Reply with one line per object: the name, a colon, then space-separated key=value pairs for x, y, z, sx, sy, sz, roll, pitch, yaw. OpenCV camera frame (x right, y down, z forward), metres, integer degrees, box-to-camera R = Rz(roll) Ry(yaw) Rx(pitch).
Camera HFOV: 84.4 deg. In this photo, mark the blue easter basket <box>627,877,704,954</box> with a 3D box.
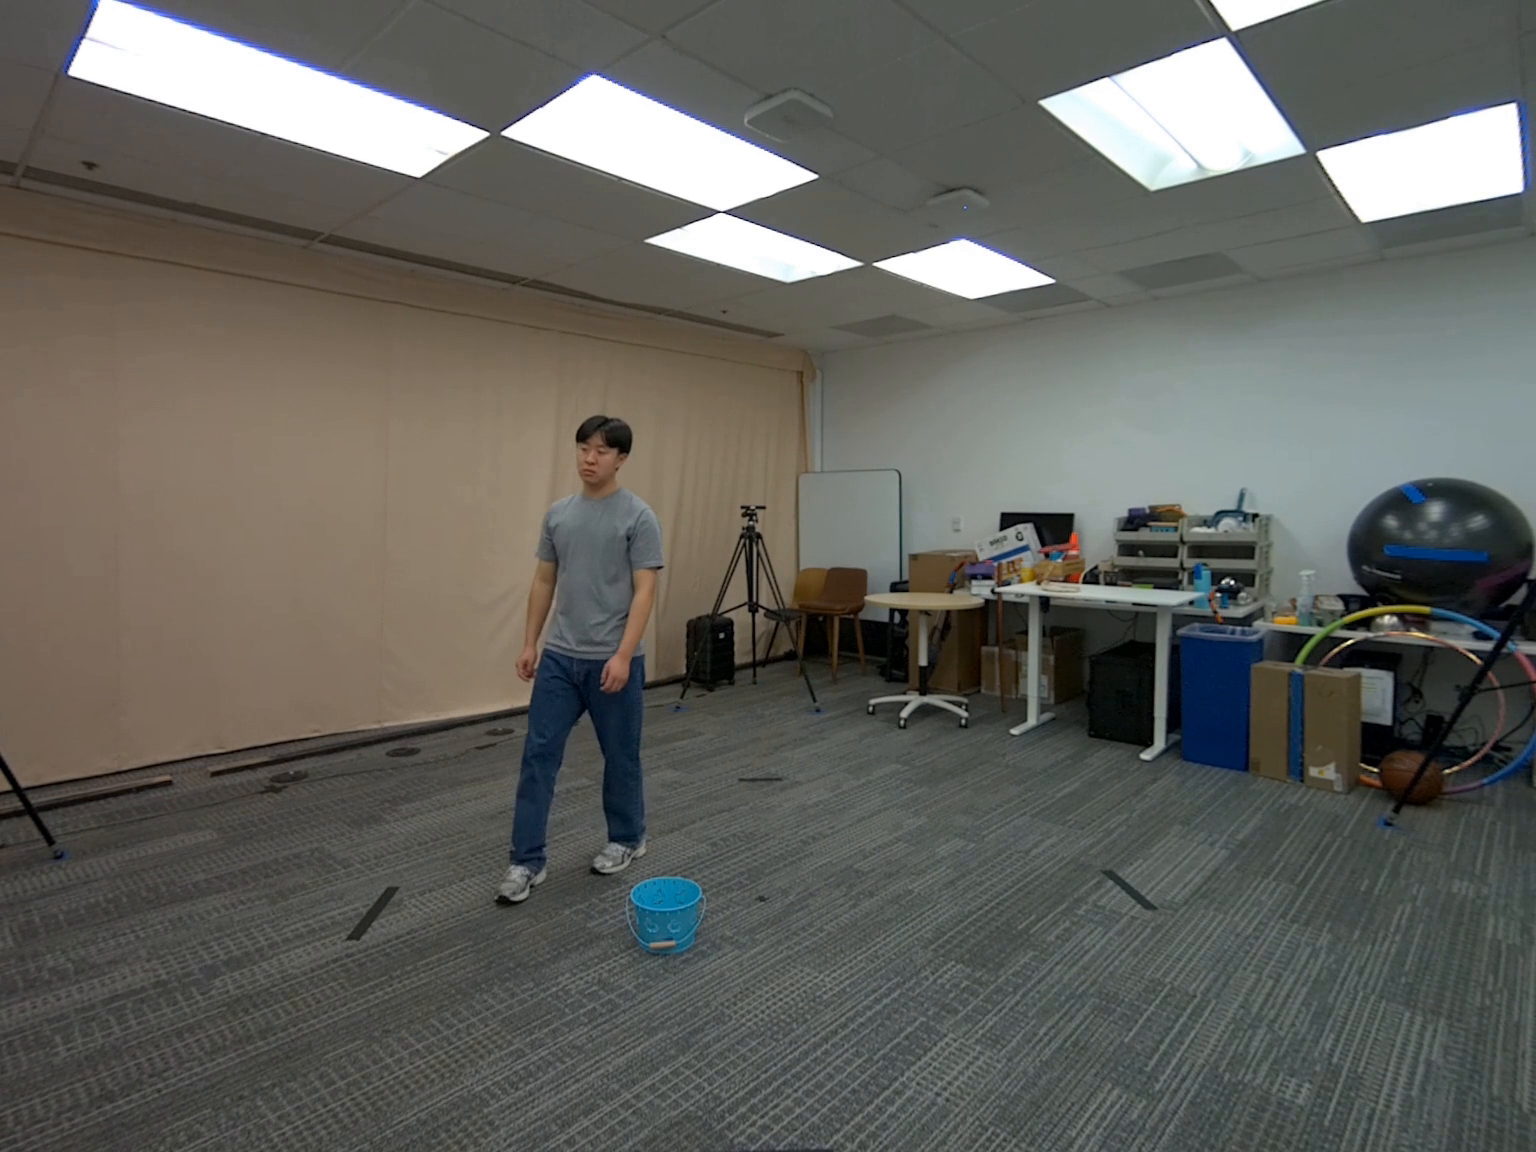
blue easter basket: x=-0.327 y=1.092 z=2.698 sx=0.243 sy=0.155 sz=0.244 roll=0 pitch=4 yaw=-2
